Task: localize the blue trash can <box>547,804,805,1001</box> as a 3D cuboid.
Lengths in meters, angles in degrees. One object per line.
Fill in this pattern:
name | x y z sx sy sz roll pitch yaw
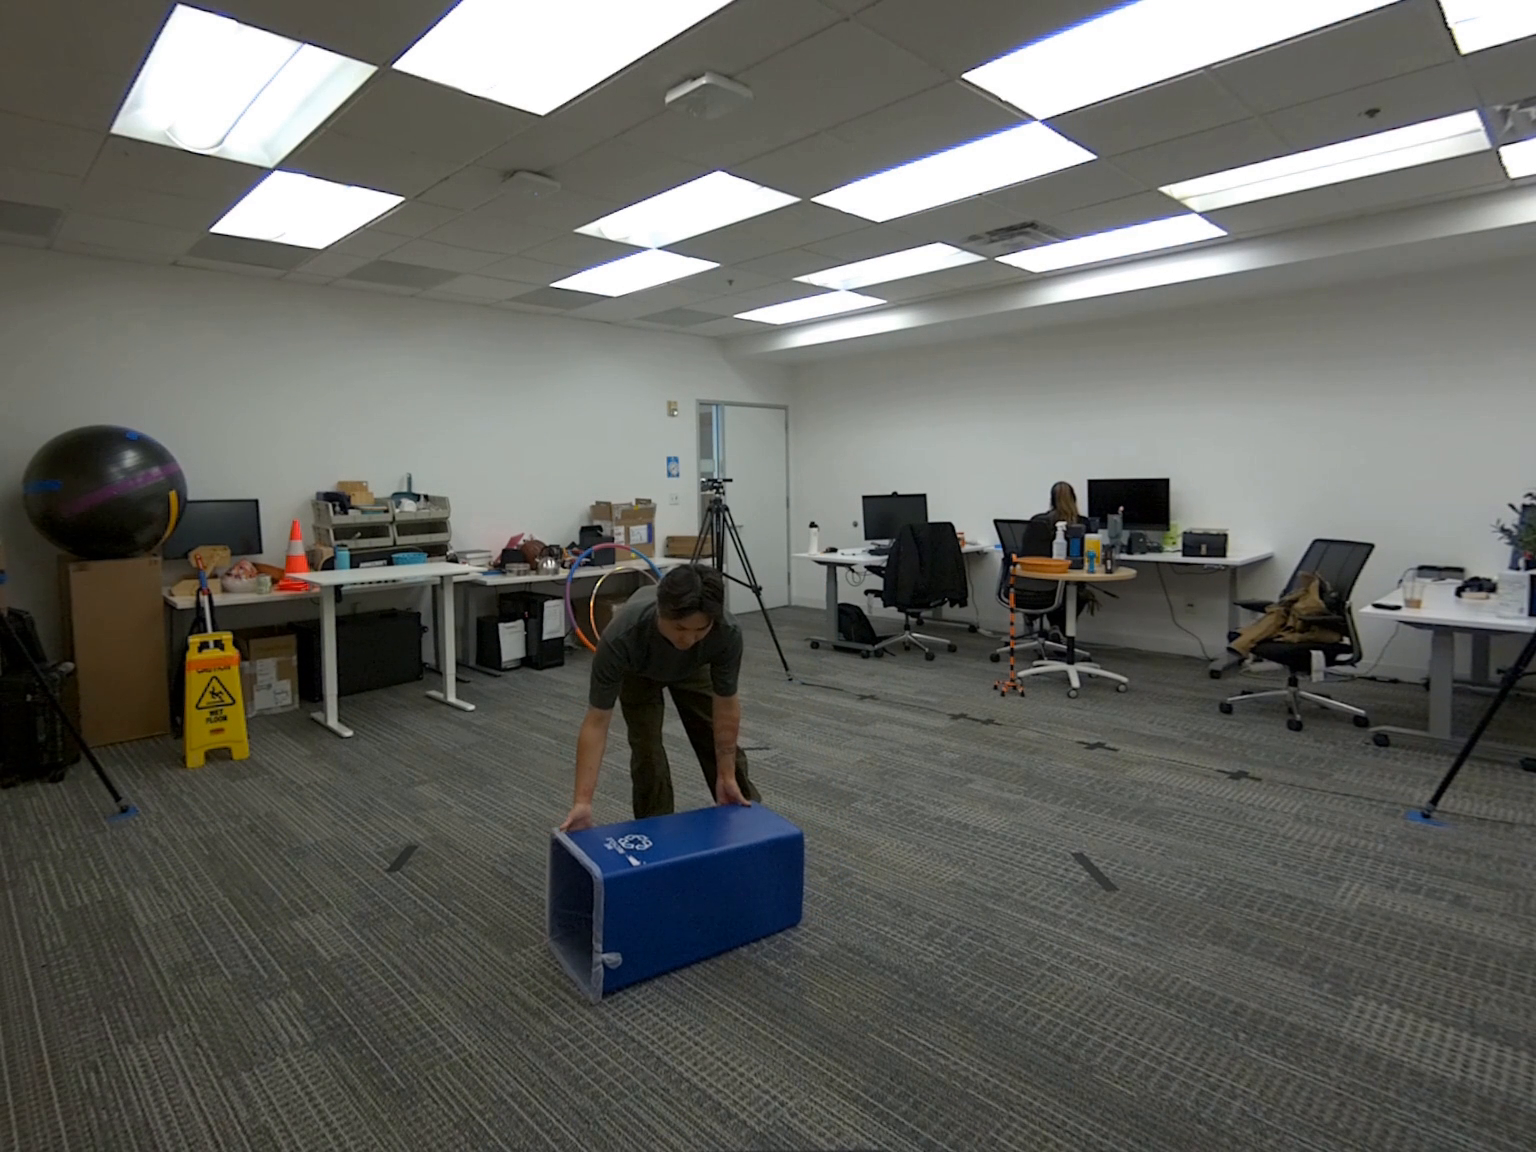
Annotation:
blue trash can | -0.265 0.936 2.600 0.696 0.372 0.389 -3 6 -32
